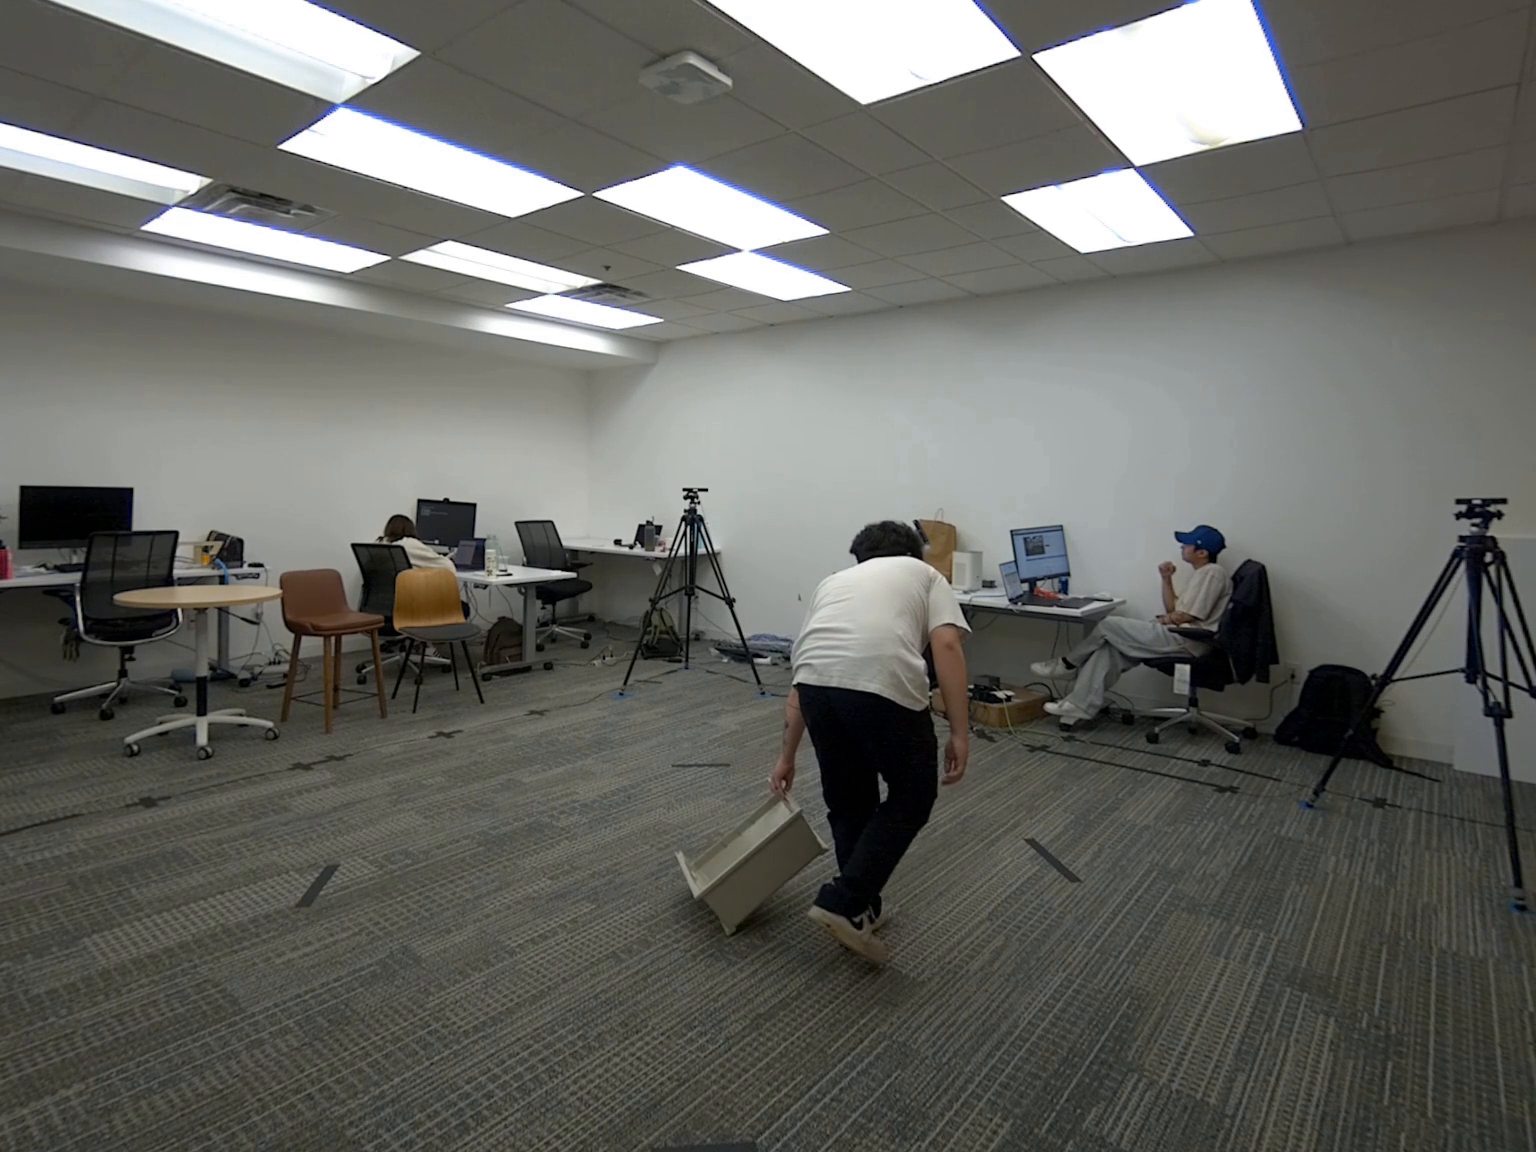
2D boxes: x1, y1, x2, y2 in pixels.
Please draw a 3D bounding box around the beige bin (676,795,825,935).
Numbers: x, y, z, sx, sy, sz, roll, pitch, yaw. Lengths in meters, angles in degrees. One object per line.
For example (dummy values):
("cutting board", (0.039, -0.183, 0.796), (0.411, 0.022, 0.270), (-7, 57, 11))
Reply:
("beige bin", (-0.076, 0.908, 2.821), (0.421, 0.186, 0.385), (-37, 15, -11))
